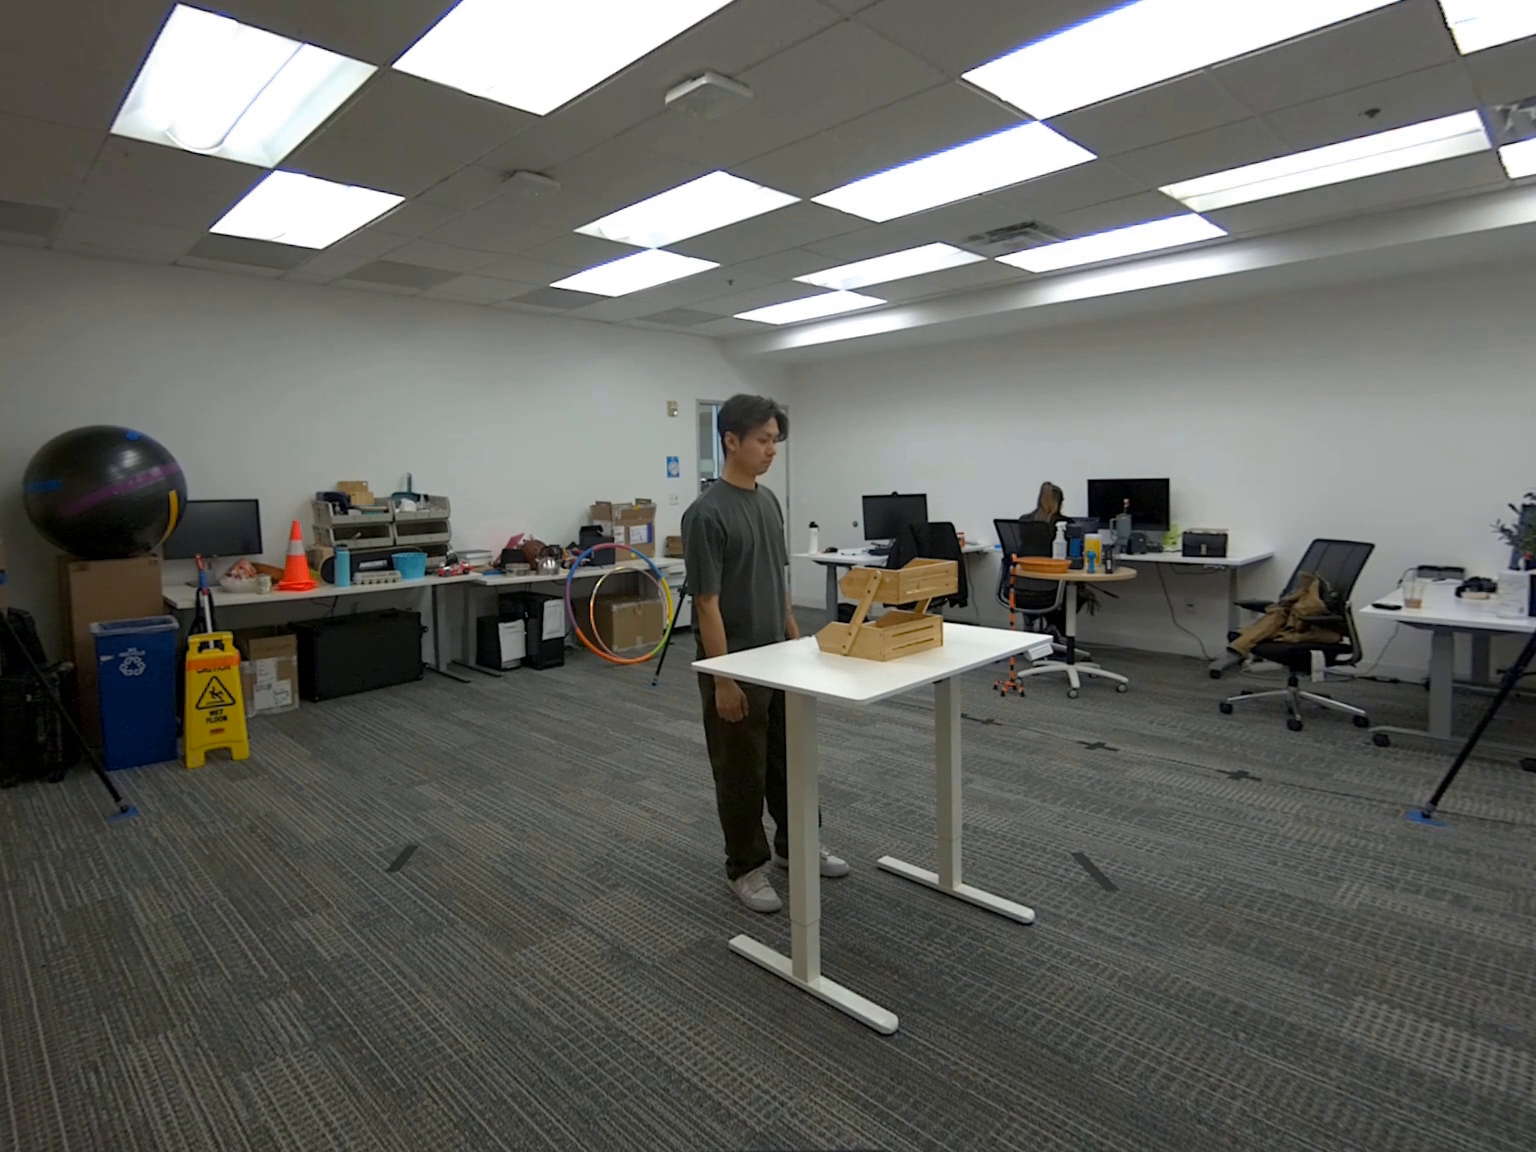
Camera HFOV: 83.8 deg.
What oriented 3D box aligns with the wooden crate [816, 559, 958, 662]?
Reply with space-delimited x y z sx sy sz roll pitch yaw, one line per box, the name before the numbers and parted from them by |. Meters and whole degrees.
wooden crate | 0.357 0.088 2.539 0.316 0.272 0.311 -7 9 -43
